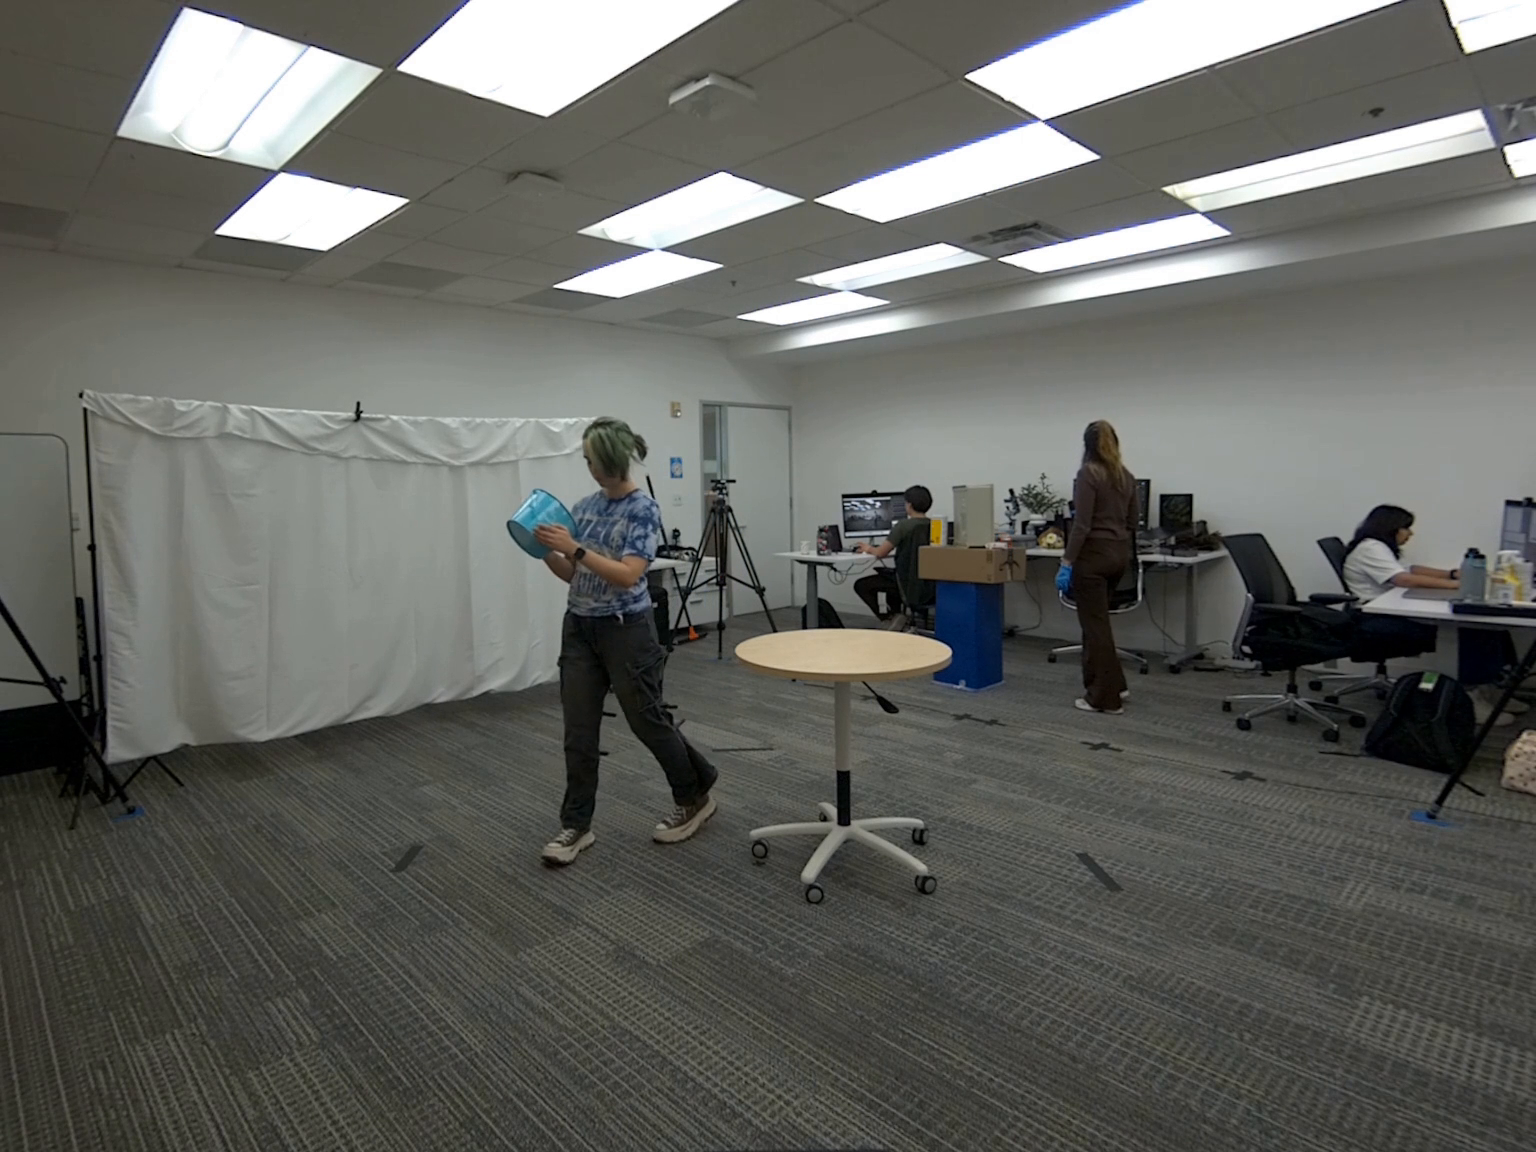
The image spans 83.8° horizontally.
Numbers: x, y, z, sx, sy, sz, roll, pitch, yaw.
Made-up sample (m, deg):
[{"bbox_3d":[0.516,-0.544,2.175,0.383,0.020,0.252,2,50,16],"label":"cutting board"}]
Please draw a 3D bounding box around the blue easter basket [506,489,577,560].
[{"bbox_3d":[-0.812,-0.179,3.070,0.251,0.236,0.156,5,42,49],"label":"blue easter basket"}]
